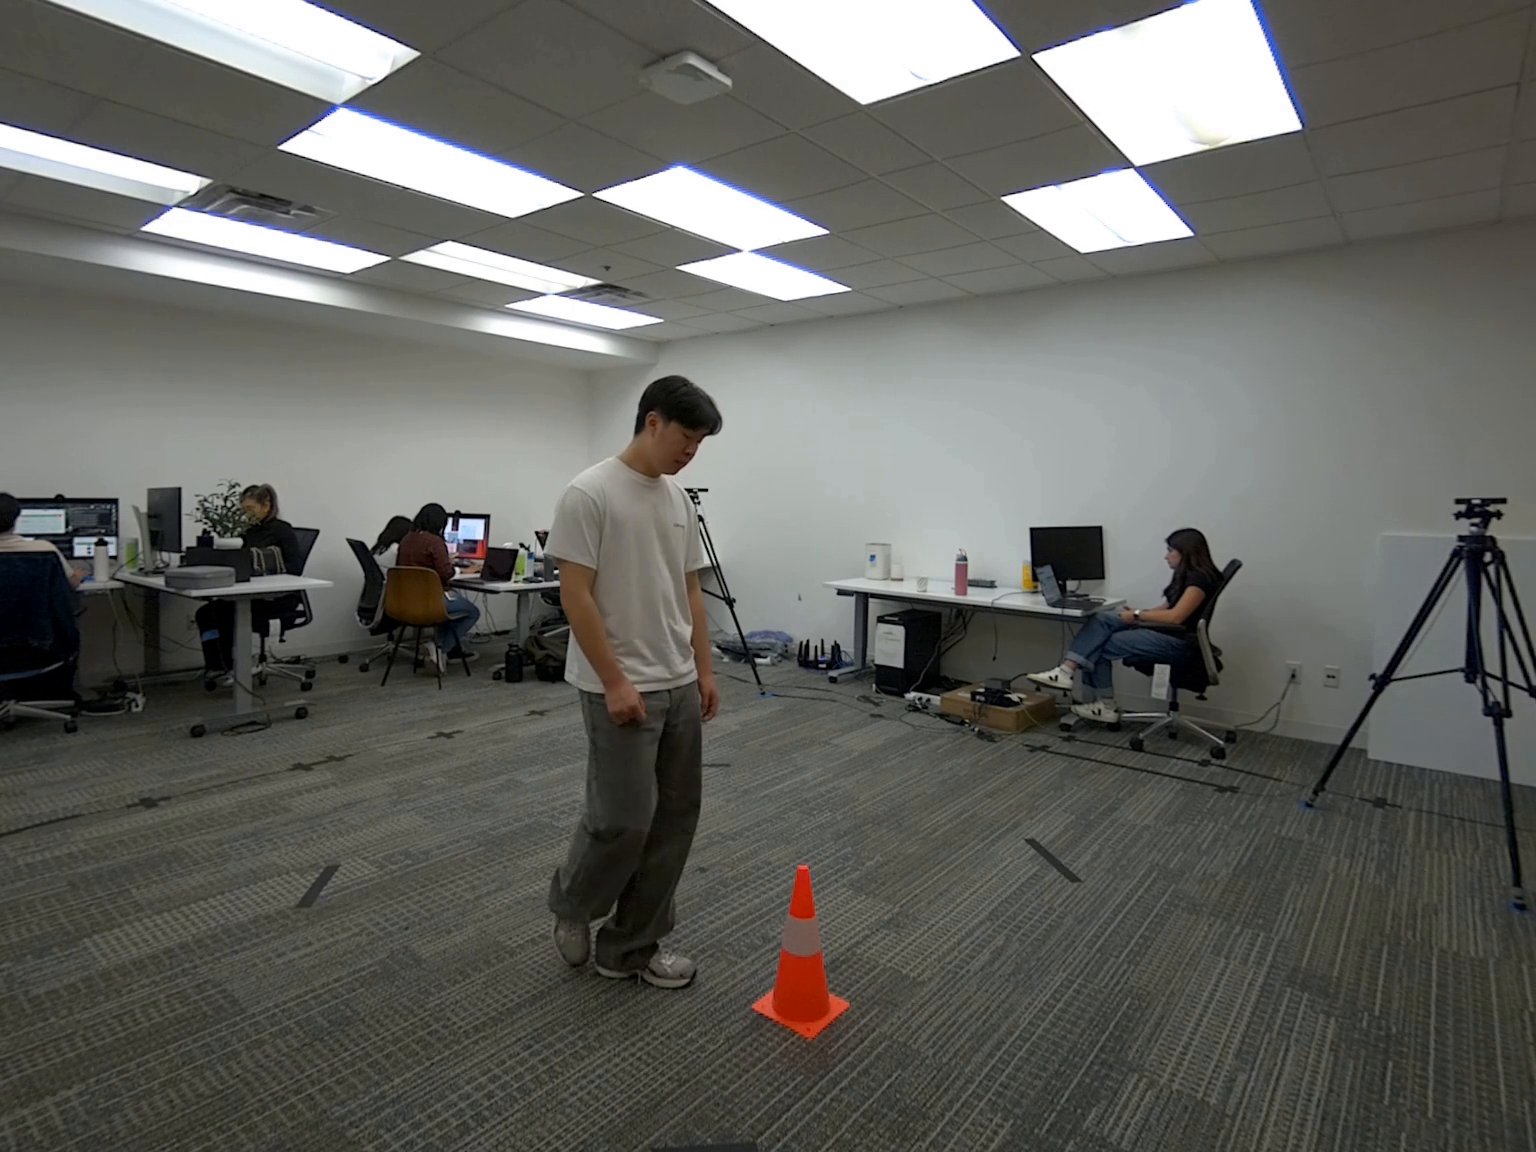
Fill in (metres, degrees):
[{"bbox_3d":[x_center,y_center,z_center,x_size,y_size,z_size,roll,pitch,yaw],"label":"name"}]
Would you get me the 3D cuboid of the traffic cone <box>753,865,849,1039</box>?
[{"bbox_3d":[0.091,0.974,2.278,0.212,0.382,0.197,6,7,44],"label":"traffic cone"}]
